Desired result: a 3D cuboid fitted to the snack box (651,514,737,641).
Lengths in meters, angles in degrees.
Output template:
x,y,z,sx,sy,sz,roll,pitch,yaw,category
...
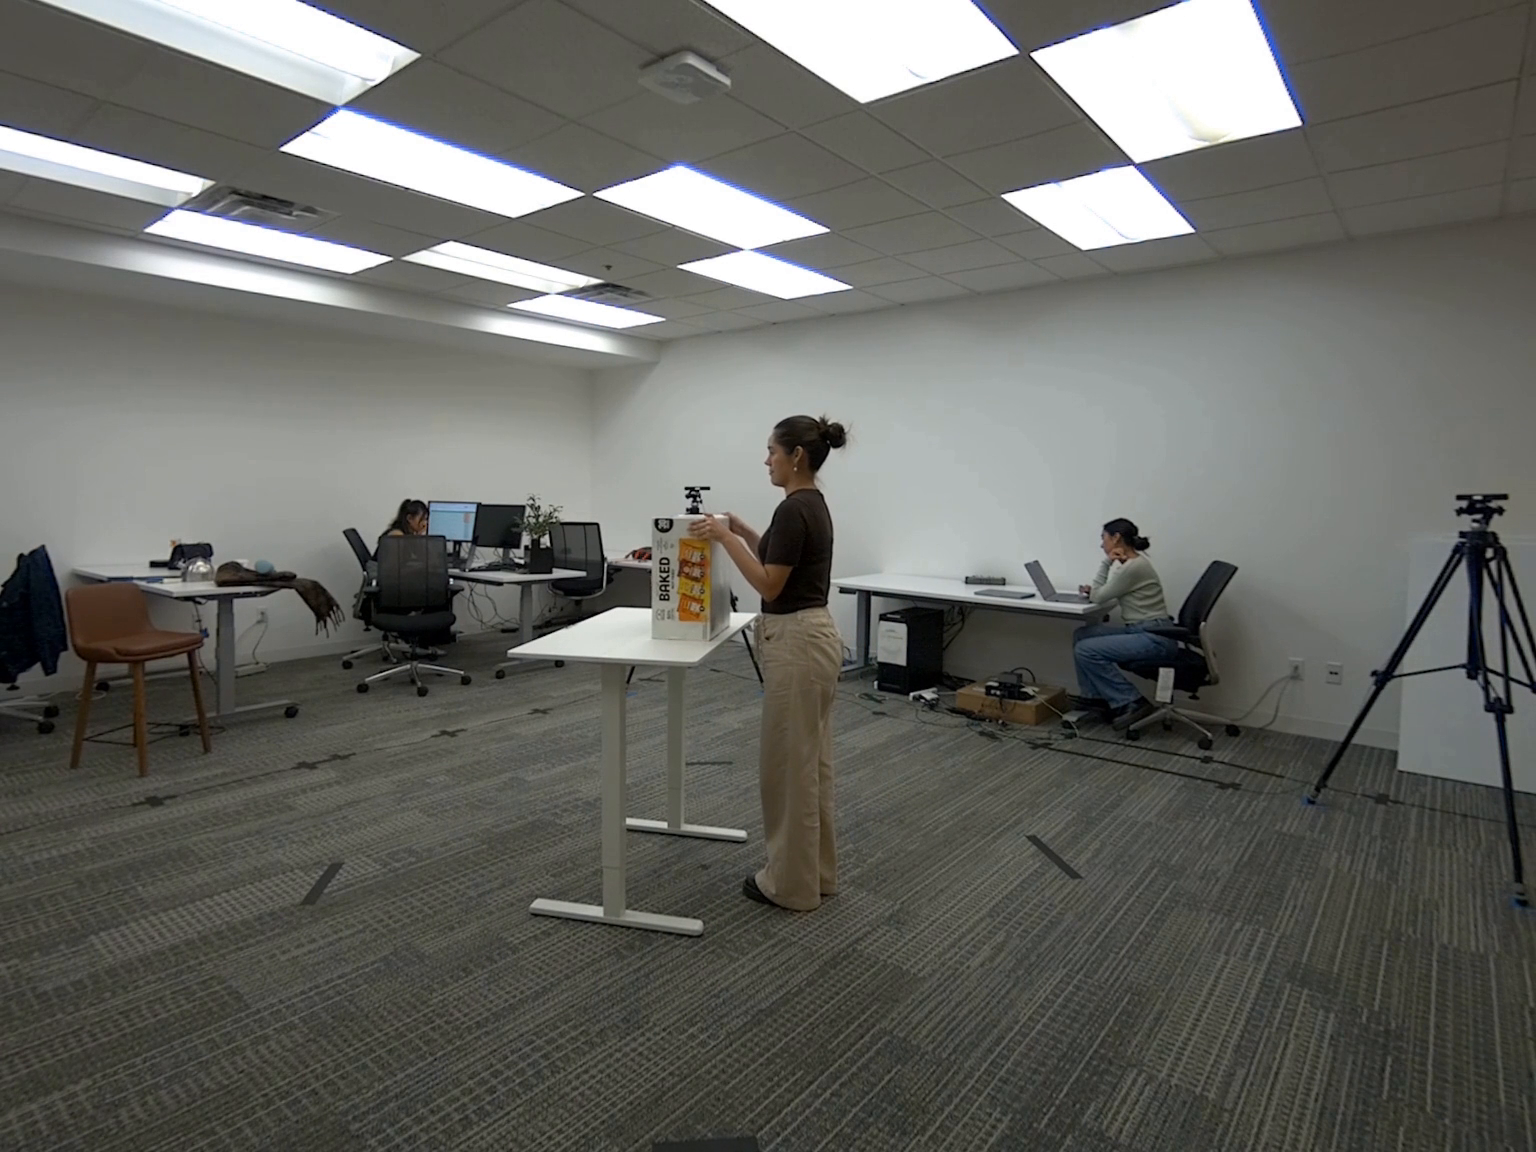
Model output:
x,y,z,sx,sy,sz,roll,pitch,yaw,category
-0.265,-0.009,2.976,0.208,0.404,0.337,1,4,10,snack box
